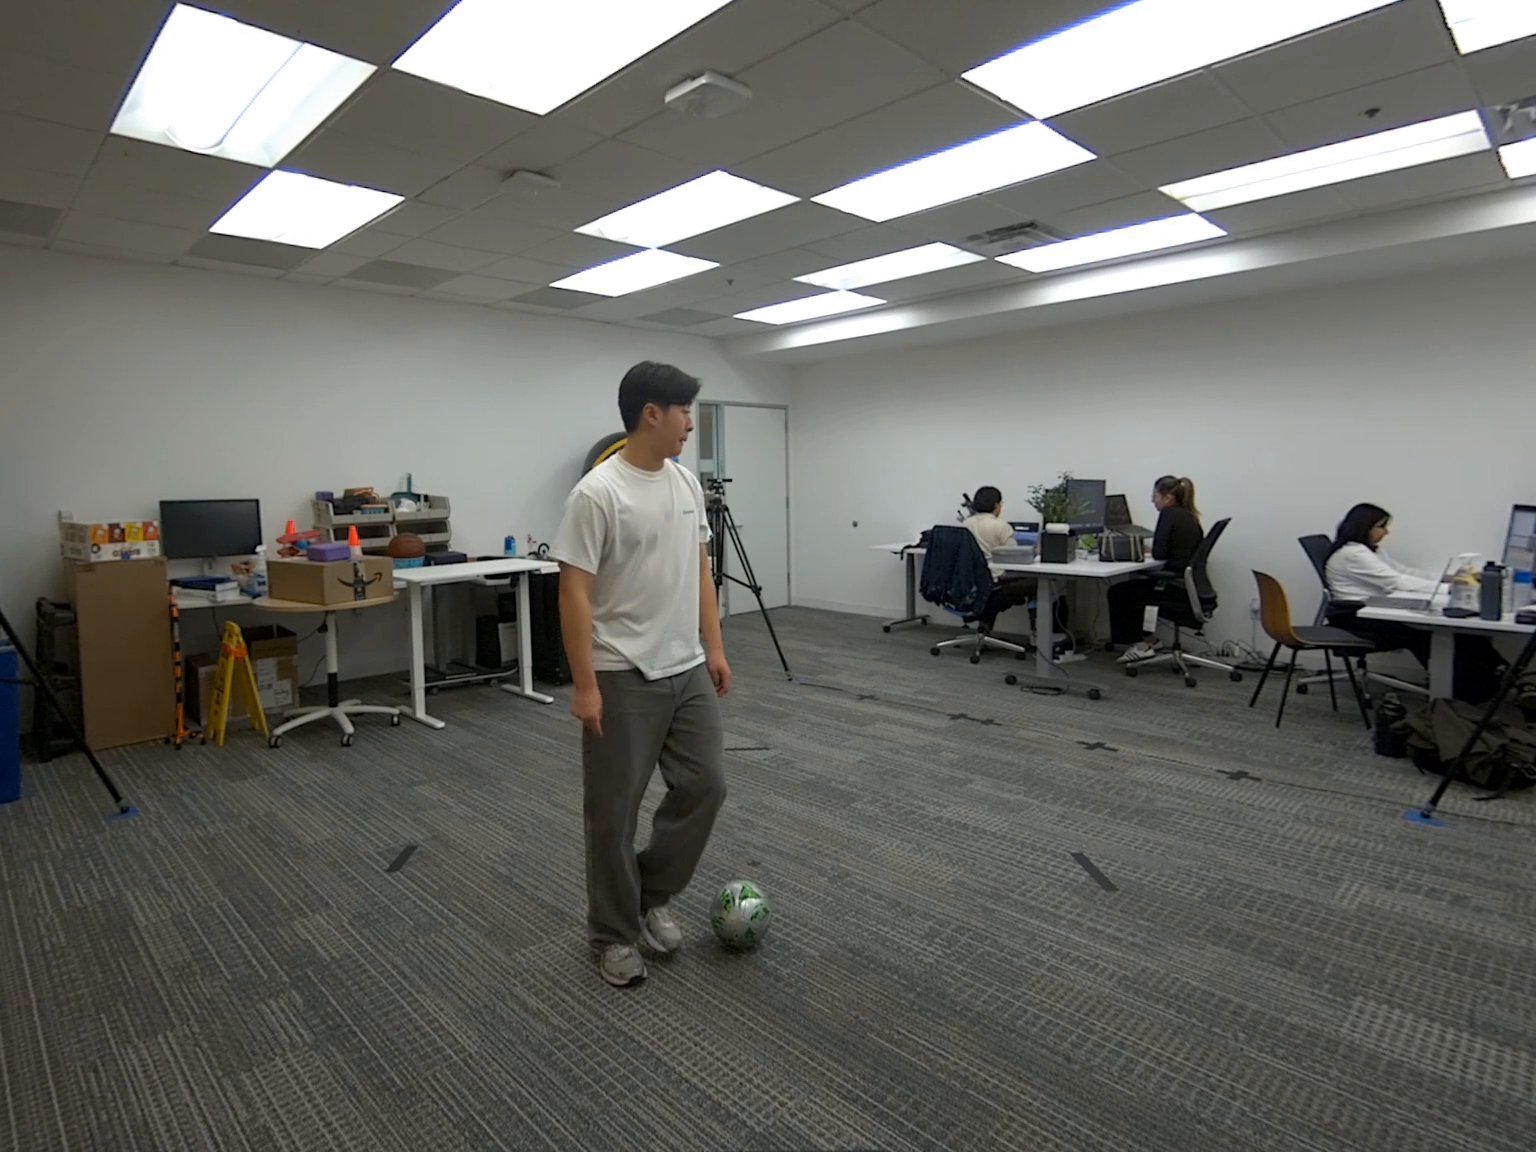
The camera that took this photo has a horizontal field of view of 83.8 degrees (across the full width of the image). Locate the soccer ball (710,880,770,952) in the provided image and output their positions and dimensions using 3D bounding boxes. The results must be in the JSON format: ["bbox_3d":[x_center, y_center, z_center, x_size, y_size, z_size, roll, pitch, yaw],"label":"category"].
[{"bbox_3d":[-0.075,1.015,2.569,0.187,0.187,0.188,-1,5,-2],"label":"soccer ball"}]
